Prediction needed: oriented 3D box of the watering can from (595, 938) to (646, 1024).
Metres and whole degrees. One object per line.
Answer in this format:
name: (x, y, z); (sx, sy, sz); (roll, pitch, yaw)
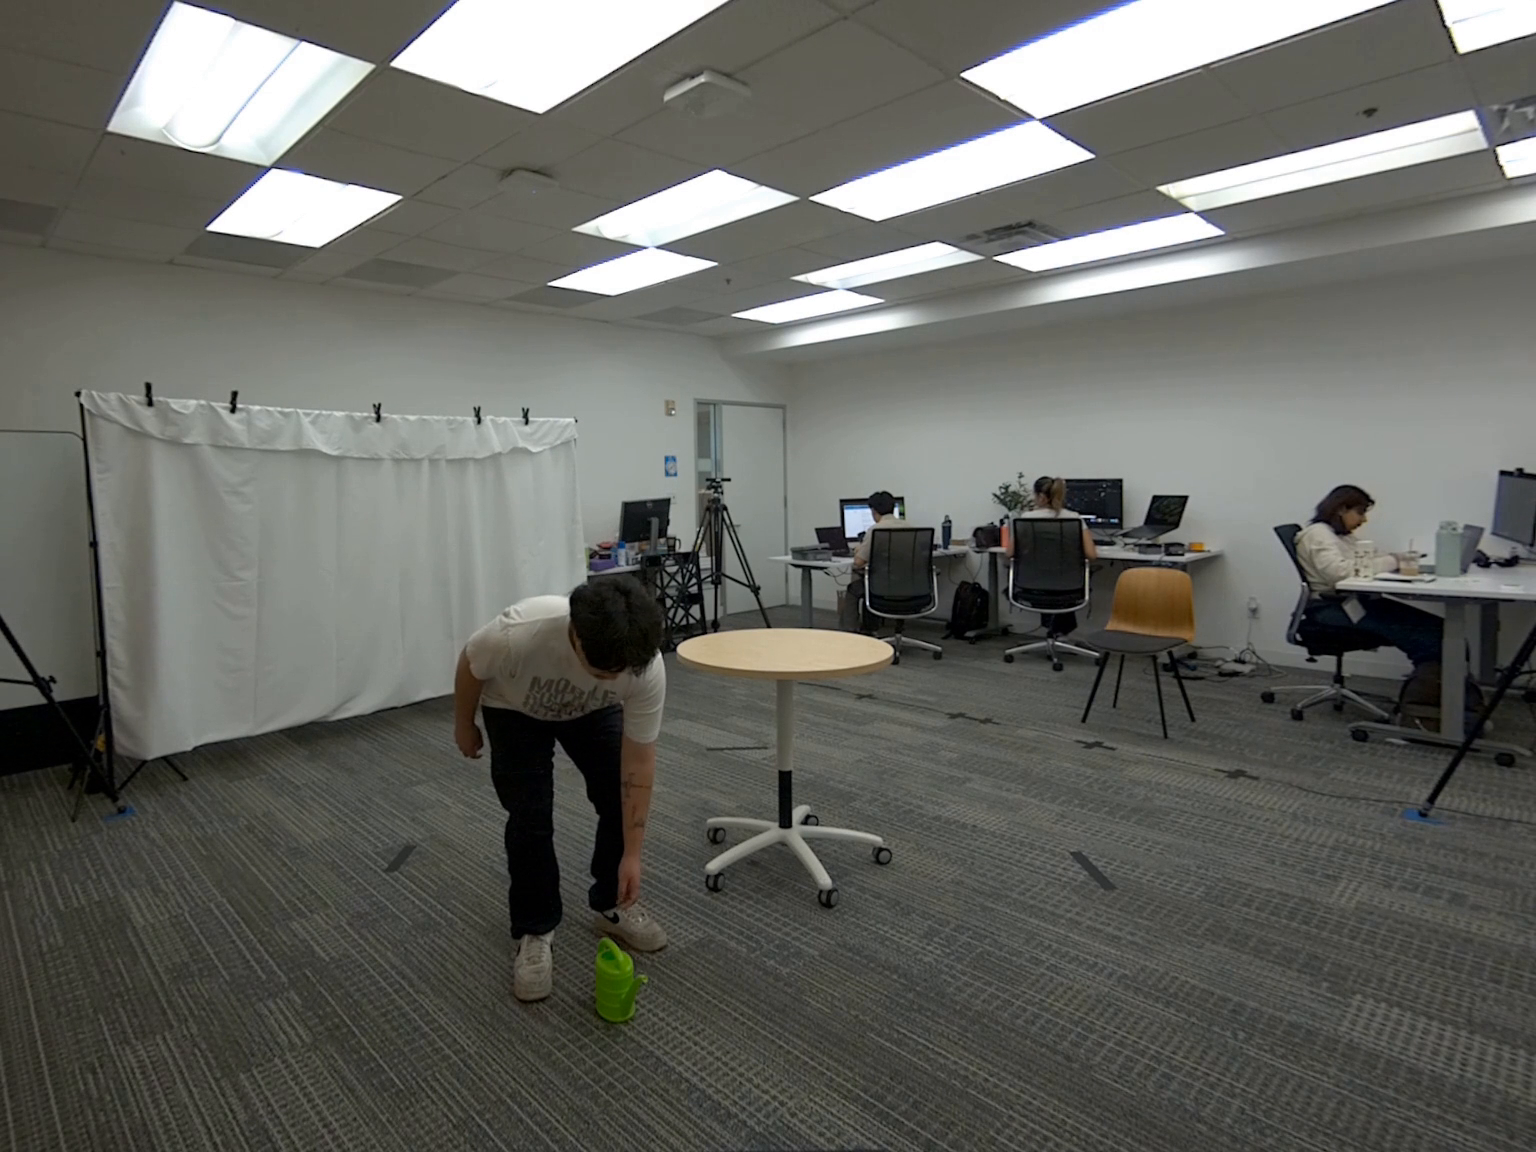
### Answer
watering can: (-0.383, 1.072, 2.206); (0.096, 0.177, 0.282); (1, 1, -16)
